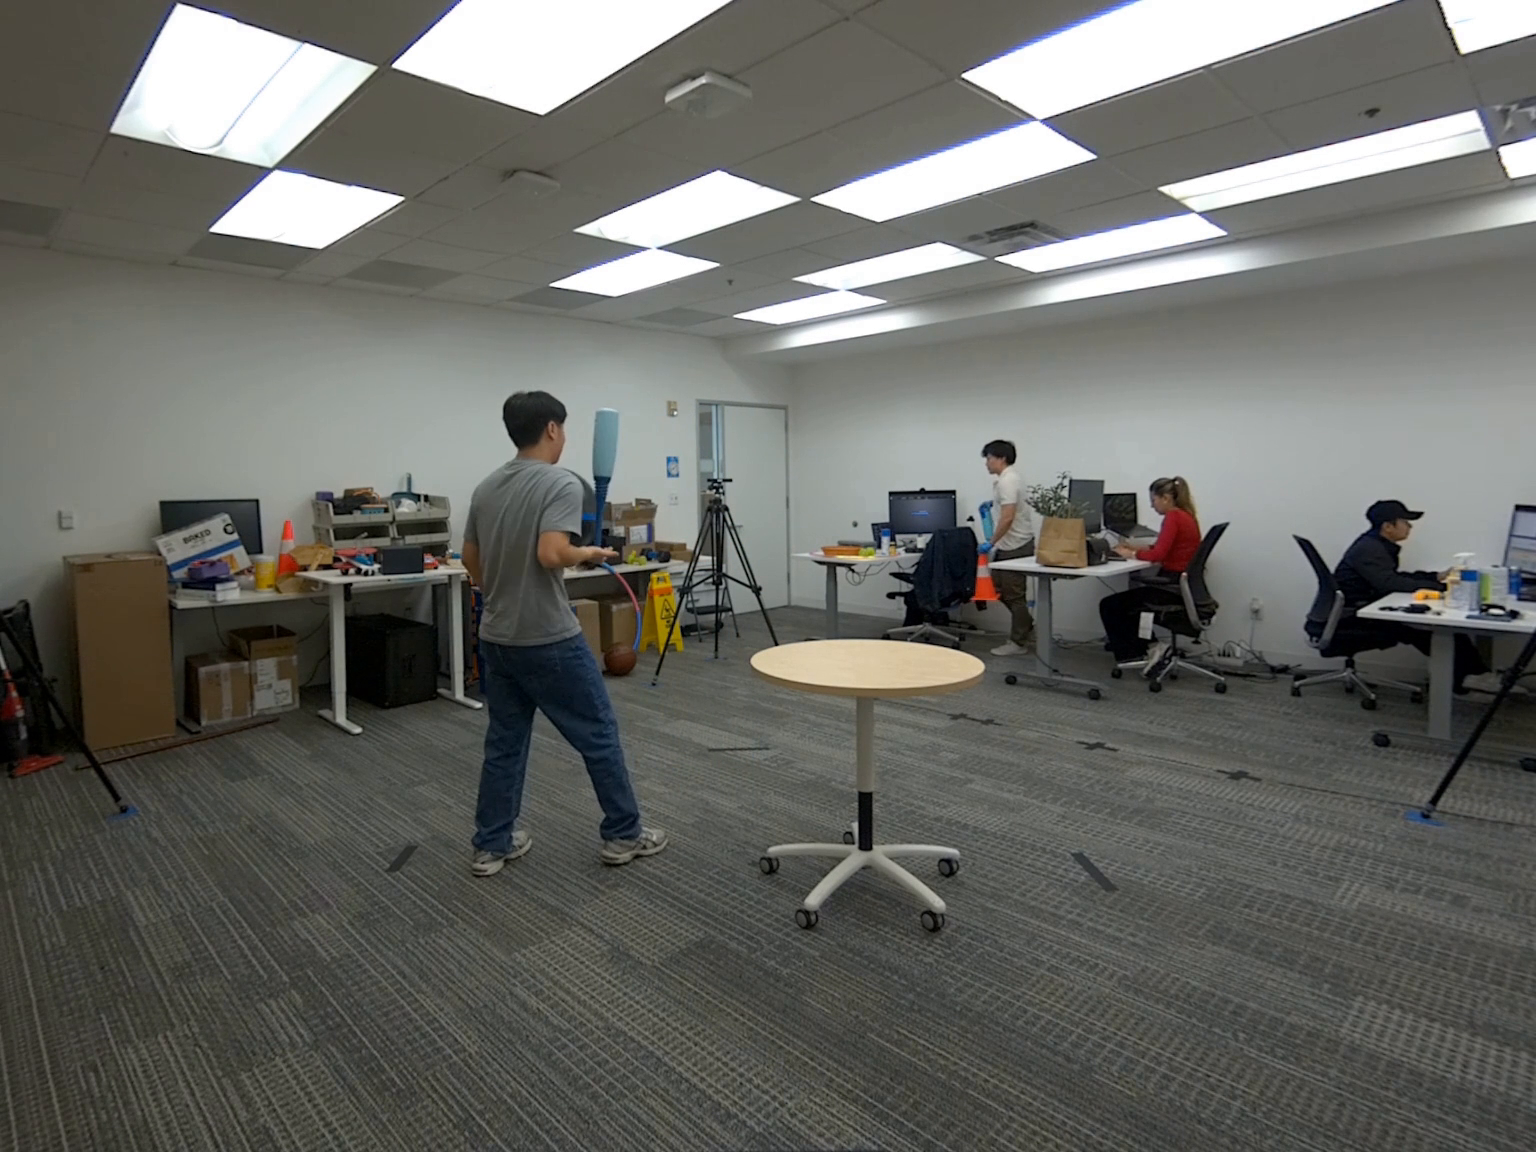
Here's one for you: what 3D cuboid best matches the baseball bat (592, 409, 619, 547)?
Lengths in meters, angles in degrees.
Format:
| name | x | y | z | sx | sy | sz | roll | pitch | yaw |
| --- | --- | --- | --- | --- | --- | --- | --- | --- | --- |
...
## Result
| name | x | y | z | sx | sy | sz | roll | pitch | yaw |
| --- | --- | --- | --- | --- | --- | --- | --- | --- | --- |
| baseball bat | -0.614 | -0.351 | 3.175 | 0.089 | 0.543 | 0.089 | 4 | 0 | -2 |
